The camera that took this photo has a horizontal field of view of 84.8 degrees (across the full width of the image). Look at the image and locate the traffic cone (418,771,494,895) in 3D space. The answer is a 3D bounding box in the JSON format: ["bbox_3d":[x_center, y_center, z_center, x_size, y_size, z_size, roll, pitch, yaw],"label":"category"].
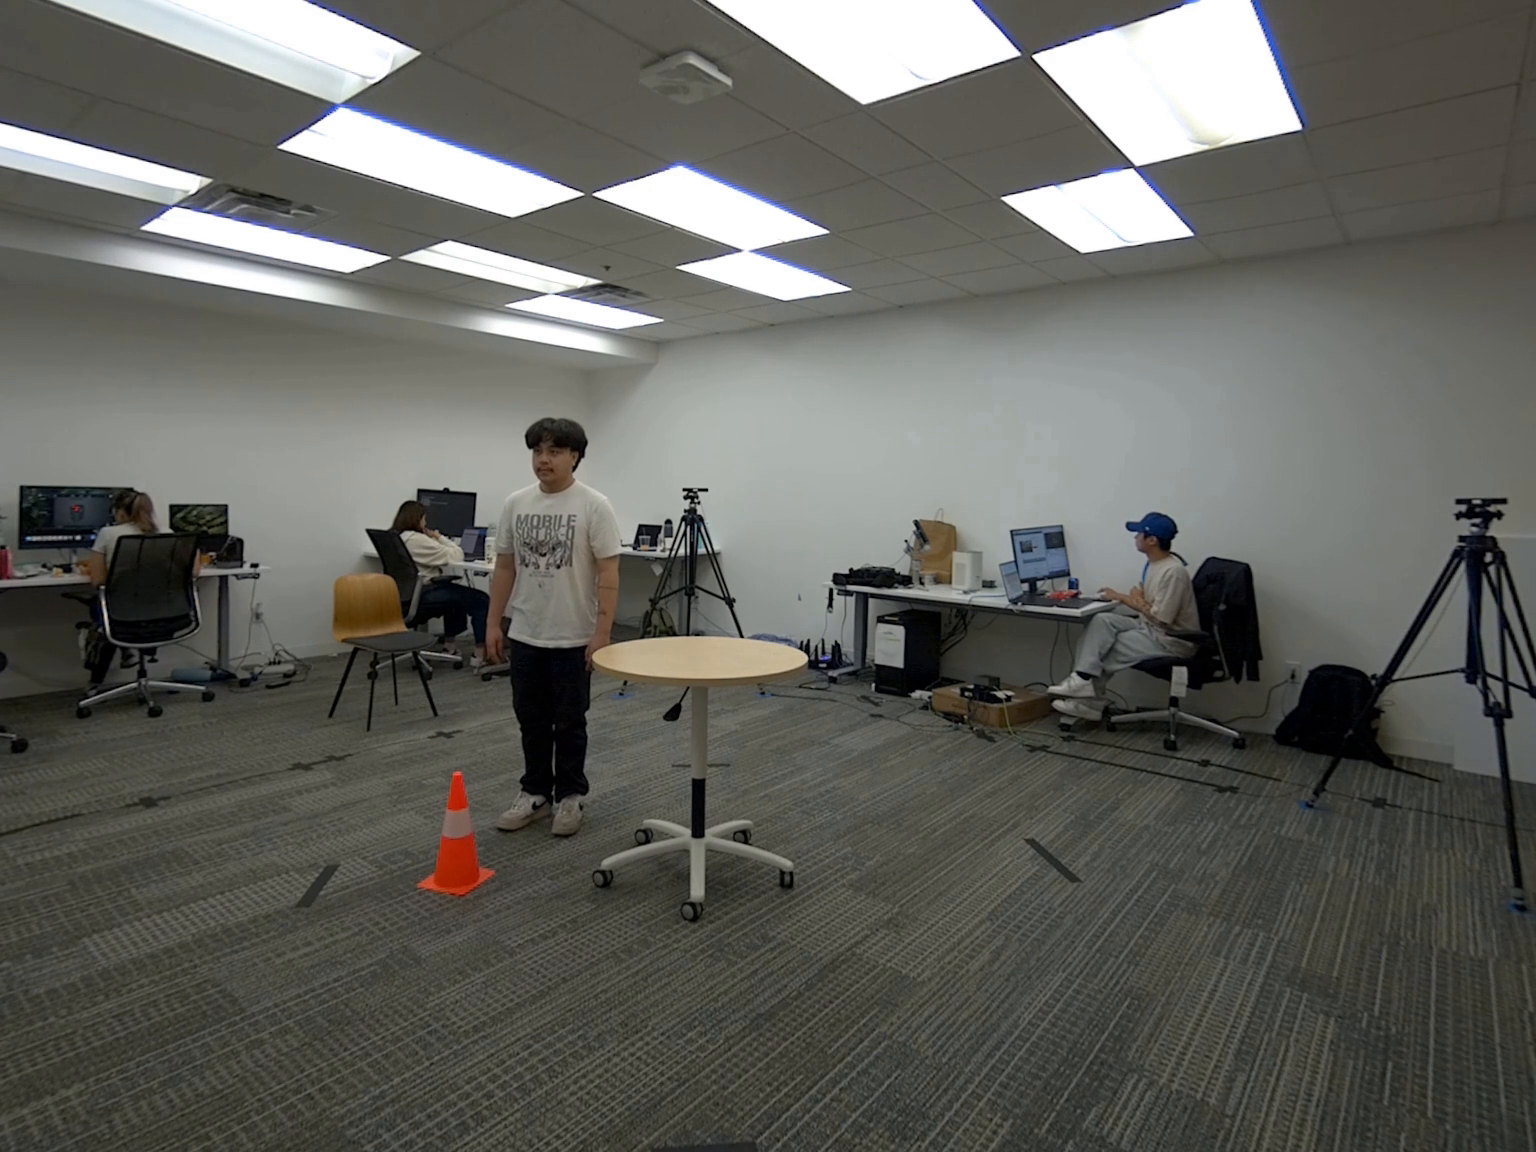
[{"bbox_3d":[-1.116,0.883,2.988,0.209,0.382,0.200,4,6,28],"label":"traffic cone"}]
